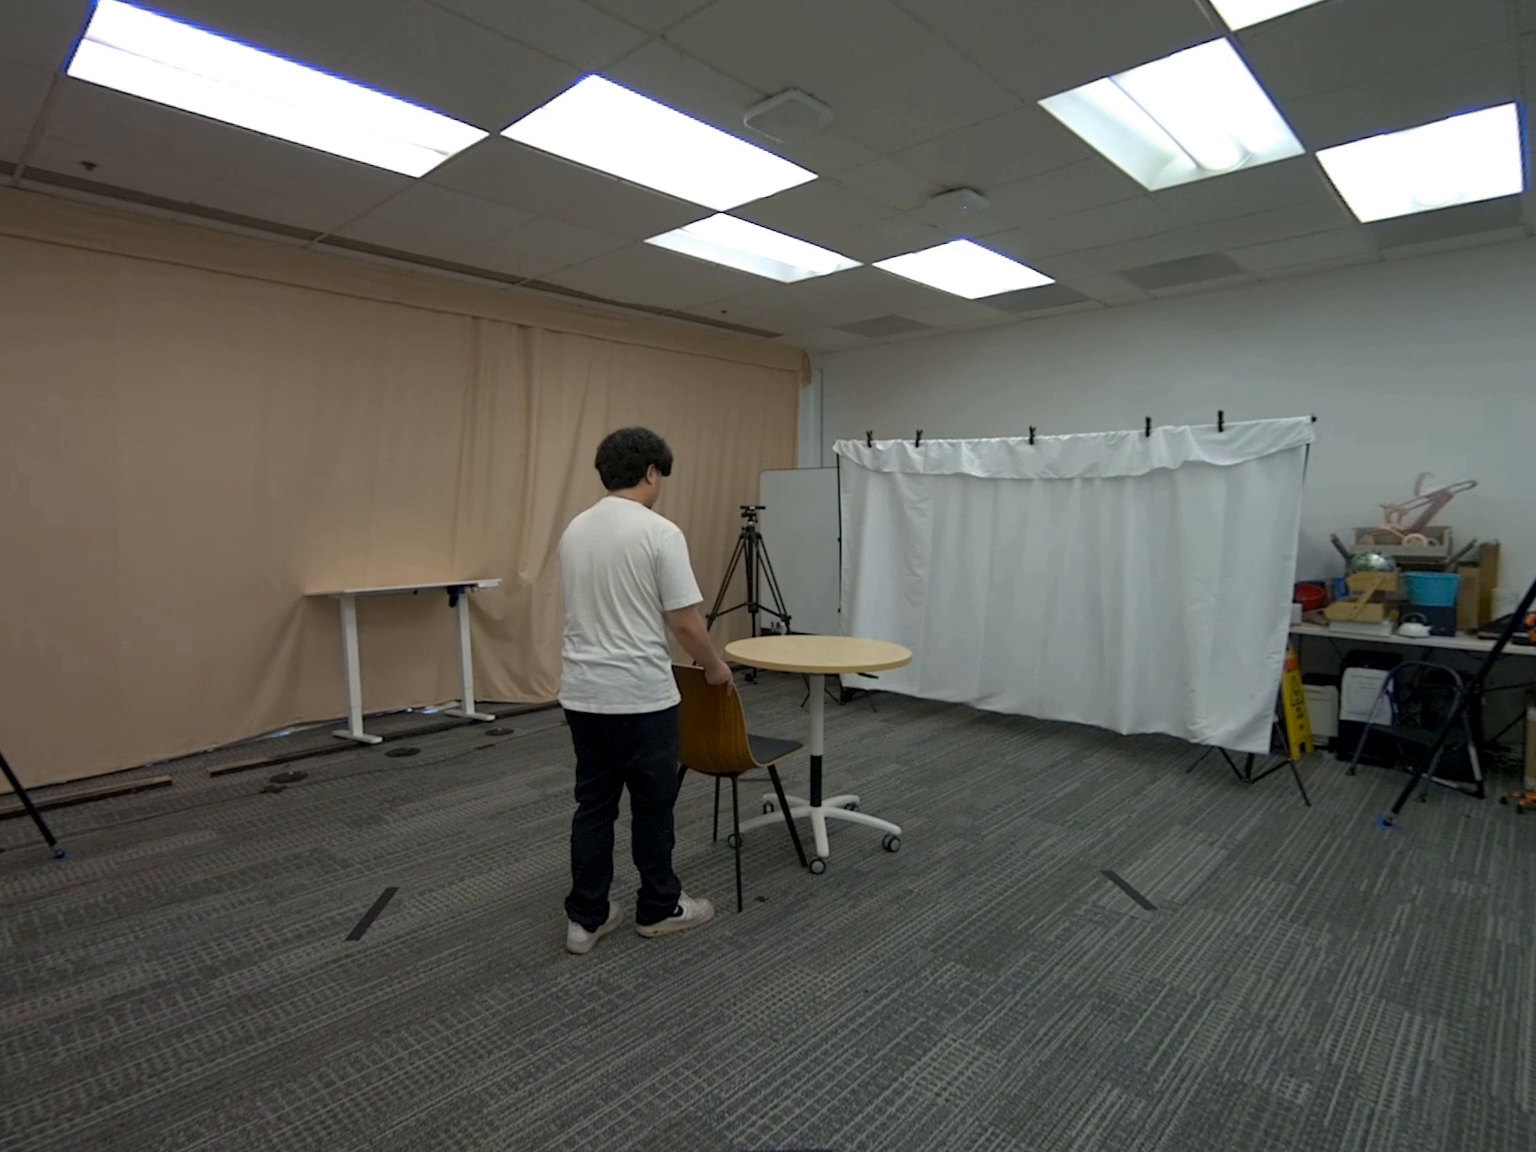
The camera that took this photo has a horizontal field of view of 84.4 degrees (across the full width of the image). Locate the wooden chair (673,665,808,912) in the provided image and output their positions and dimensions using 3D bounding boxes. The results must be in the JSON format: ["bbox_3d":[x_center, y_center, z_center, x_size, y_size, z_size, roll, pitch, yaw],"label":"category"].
[{"bbox_3d":[-0.153,0.701,3.171,0.493,0.873,0.509,1,8,35],"label":"wooden chair"}]
